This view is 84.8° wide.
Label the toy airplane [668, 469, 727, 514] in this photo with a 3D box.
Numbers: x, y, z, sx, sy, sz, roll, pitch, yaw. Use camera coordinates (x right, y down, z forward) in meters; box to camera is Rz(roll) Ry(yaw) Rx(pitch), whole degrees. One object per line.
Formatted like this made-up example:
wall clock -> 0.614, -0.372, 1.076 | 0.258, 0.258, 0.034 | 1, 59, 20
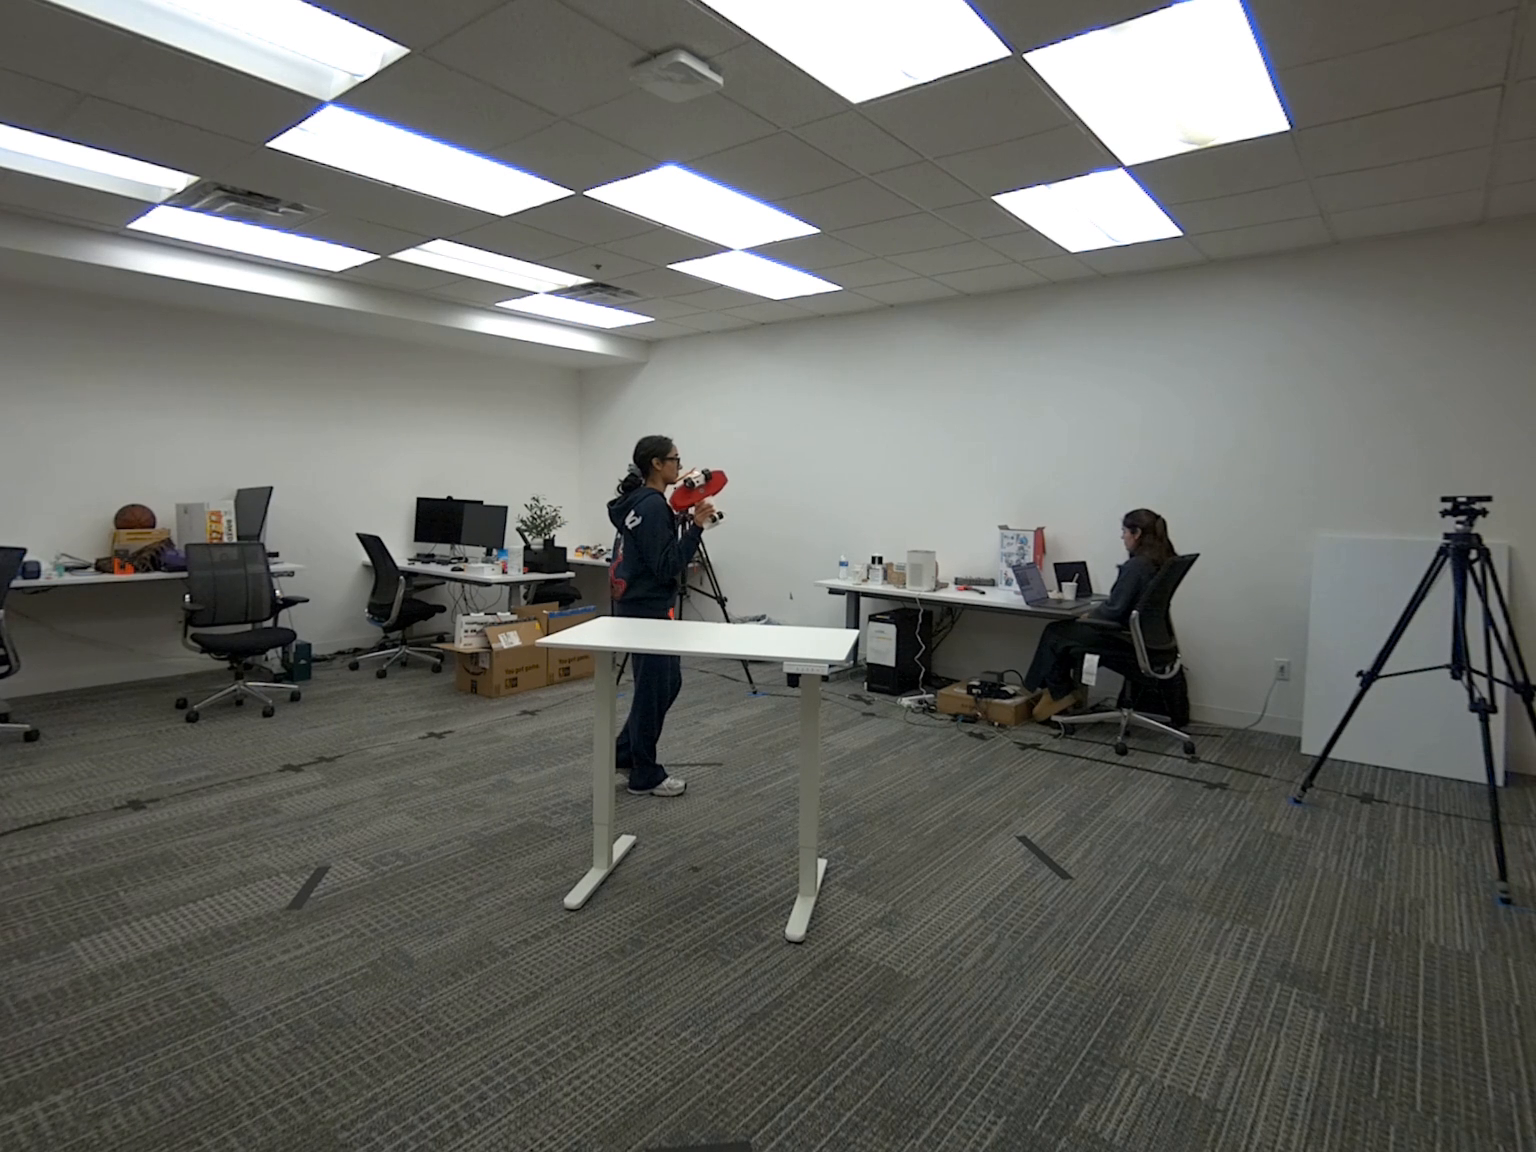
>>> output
toy airplane -> -0.305, -0.332, 3.612 | 0.247, 0.259, 0.159 | 2, 0, -16
